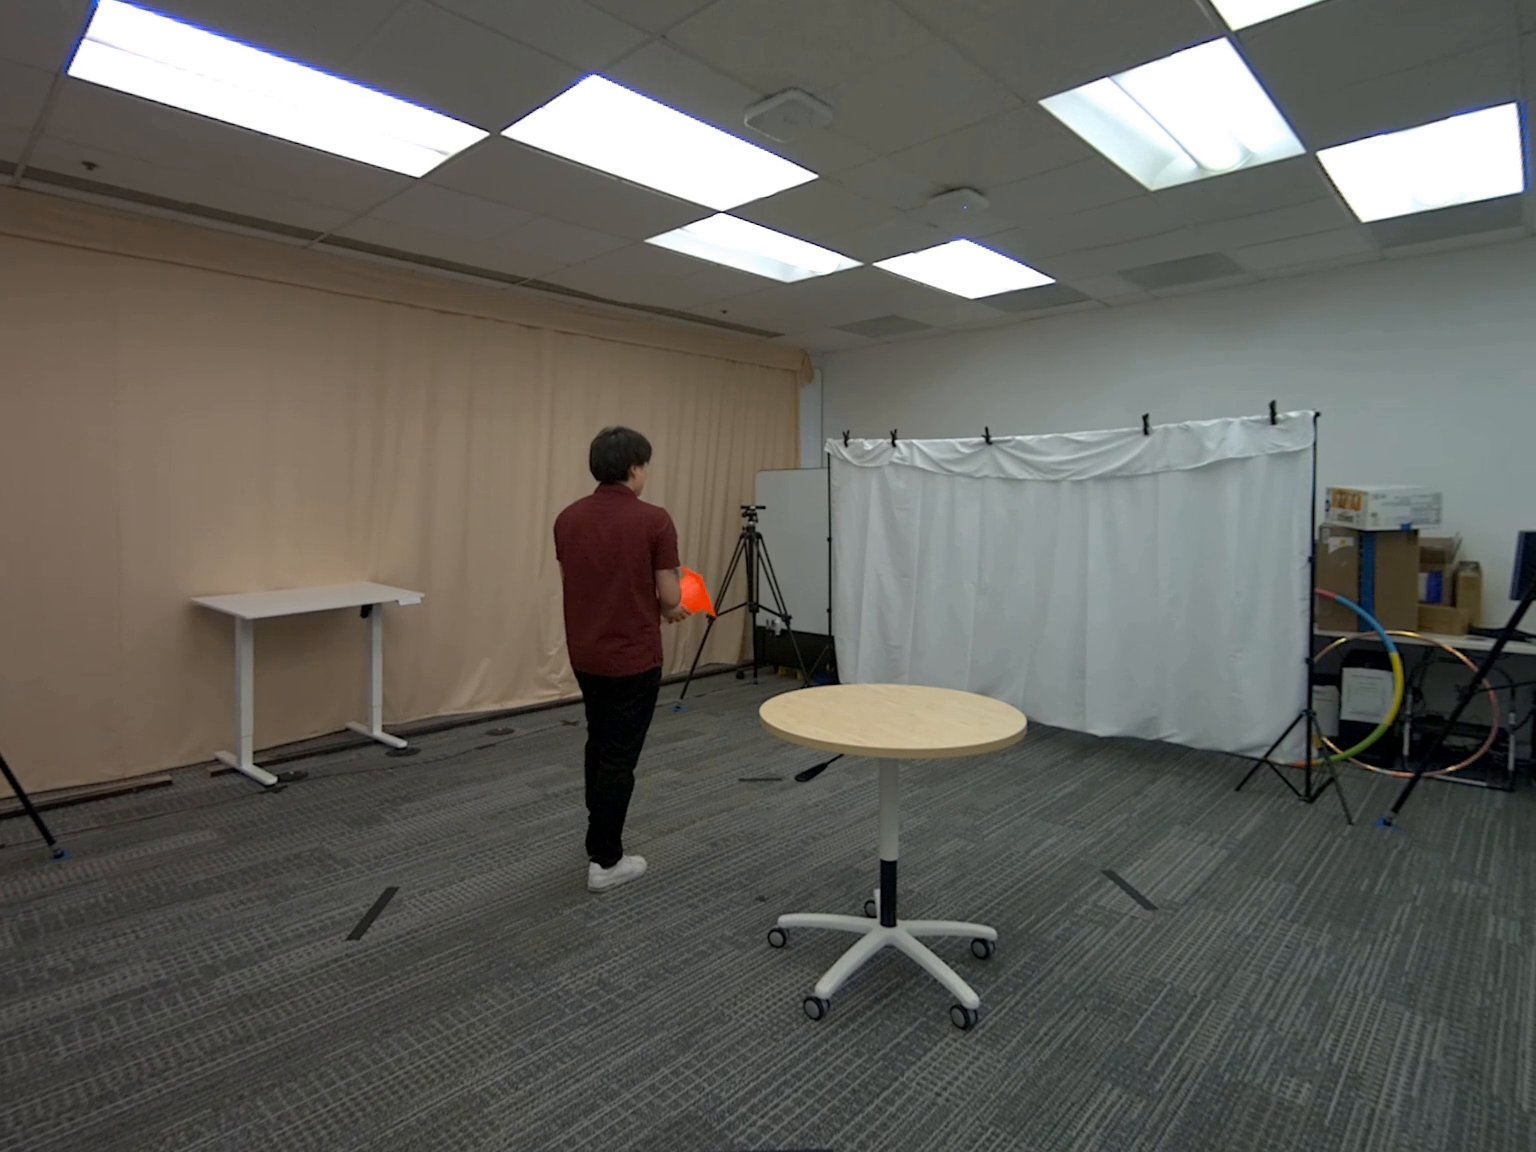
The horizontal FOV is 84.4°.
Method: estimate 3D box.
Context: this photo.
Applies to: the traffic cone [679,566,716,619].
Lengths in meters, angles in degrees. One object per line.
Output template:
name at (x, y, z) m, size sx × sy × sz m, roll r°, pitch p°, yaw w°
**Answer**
traffic cone at (-0.440, 0.150, 3.409) m, size 0.379 × 0.199 × 0.212 m, roll -31°, pitch 27°, yaw -22°
